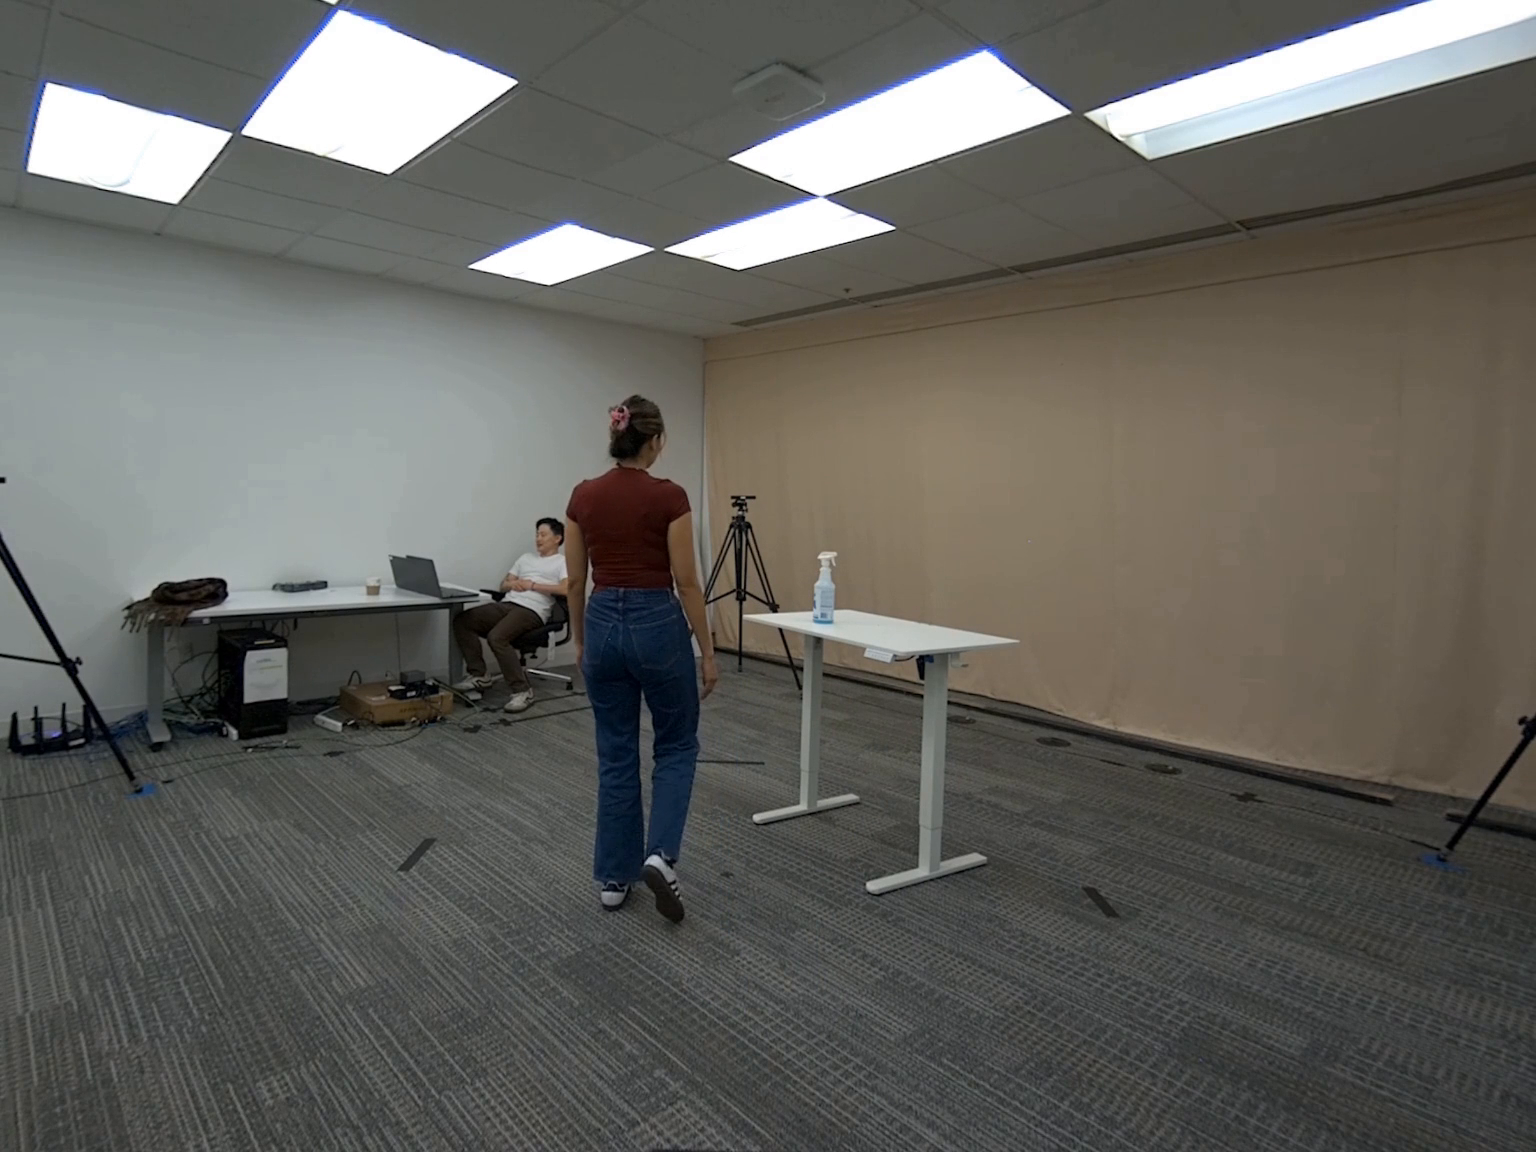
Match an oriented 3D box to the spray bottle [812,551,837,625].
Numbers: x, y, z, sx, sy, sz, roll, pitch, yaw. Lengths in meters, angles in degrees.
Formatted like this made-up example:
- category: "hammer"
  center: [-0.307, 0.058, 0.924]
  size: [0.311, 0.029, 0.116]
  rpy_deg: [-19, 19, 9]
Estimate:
- category: "spray bottle"
  center: [0.232, 0.051, 3.500]
  size: [0.085, 0.297, 0.092]
  rpy_deg: [1, 3, -23]
